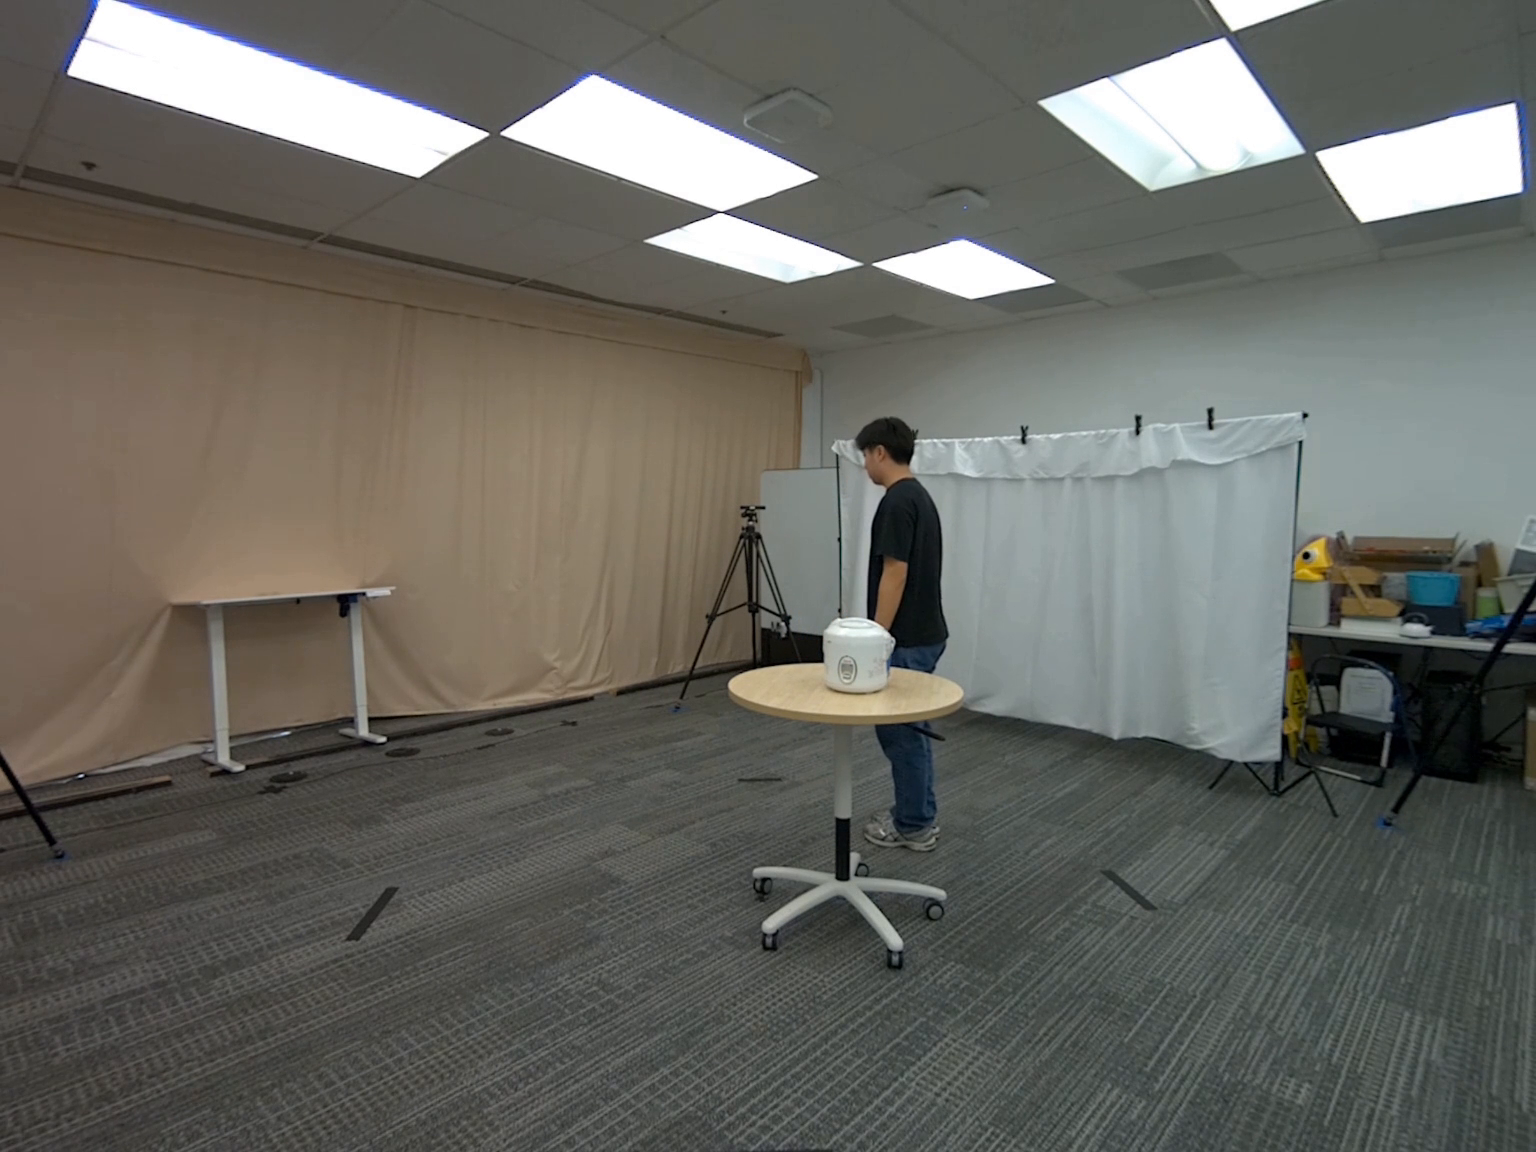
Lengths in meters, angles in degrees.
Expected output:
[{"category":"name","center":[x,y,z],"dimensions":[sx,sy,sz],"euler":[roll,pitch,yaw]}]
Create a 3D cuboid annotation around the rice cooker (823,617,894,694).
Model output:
[{"category":"rice cooker","center":[0.297,0.252,2.743],"dimensions":[0.226,0.232,0.213],"euler":[2,4,22]}]
